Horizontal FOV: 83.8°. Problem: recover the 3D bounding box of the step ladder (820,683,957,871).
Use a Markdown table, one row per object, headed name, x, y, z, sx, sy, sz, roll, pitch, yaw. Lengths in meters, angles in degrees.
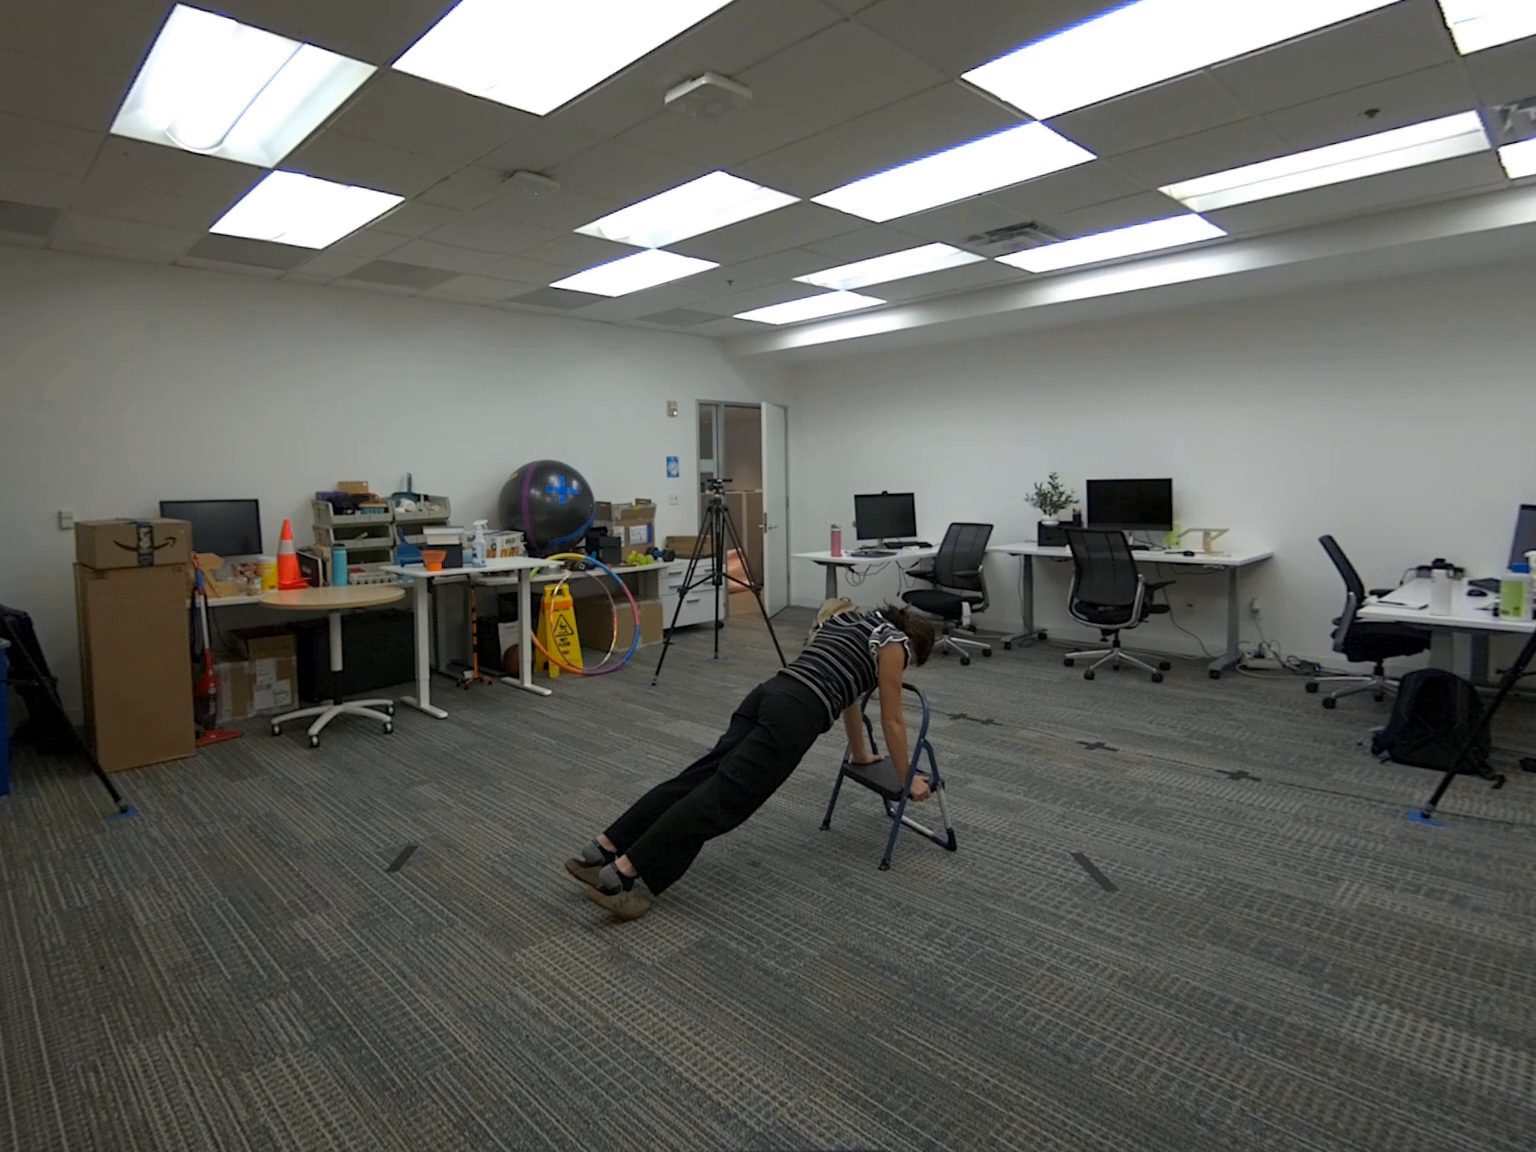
| name | x | y | z | sx | sy | sz | roll | pitch | yaw |
| --- | --- | --- | --- | --- | --- | --- | --- | --- | --- |
| step ladder | 0.457 | 0.715 | 3.280 | 0.341 | 0.604 | 0.442 | -2 | 5 | -28 |
